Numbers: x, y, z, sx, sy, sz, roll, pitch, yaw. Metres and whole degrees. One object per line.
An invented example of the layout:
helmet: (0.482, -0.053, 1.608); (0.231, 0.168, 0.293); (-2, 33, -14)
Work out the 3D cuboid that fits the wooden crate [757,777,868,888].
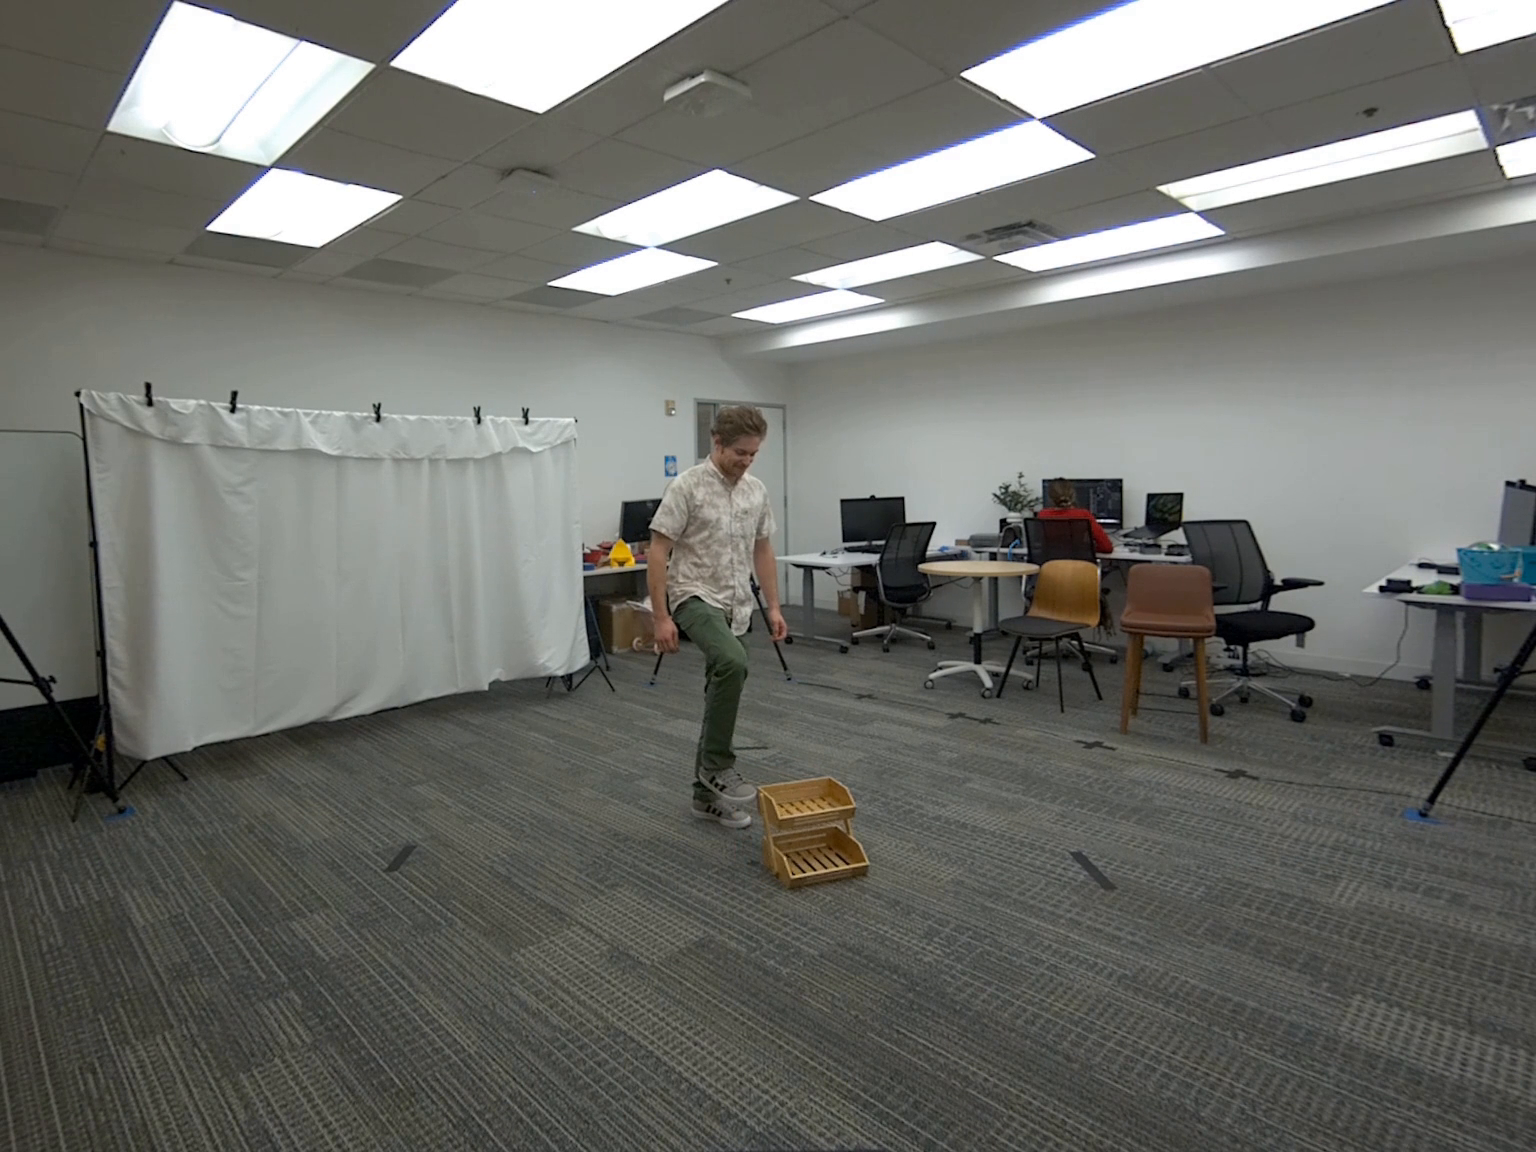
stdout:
wooden crate: (0.164, 0.913, 3.058); (0.319, 0.272, 0.309); (-3, 5, -21)
